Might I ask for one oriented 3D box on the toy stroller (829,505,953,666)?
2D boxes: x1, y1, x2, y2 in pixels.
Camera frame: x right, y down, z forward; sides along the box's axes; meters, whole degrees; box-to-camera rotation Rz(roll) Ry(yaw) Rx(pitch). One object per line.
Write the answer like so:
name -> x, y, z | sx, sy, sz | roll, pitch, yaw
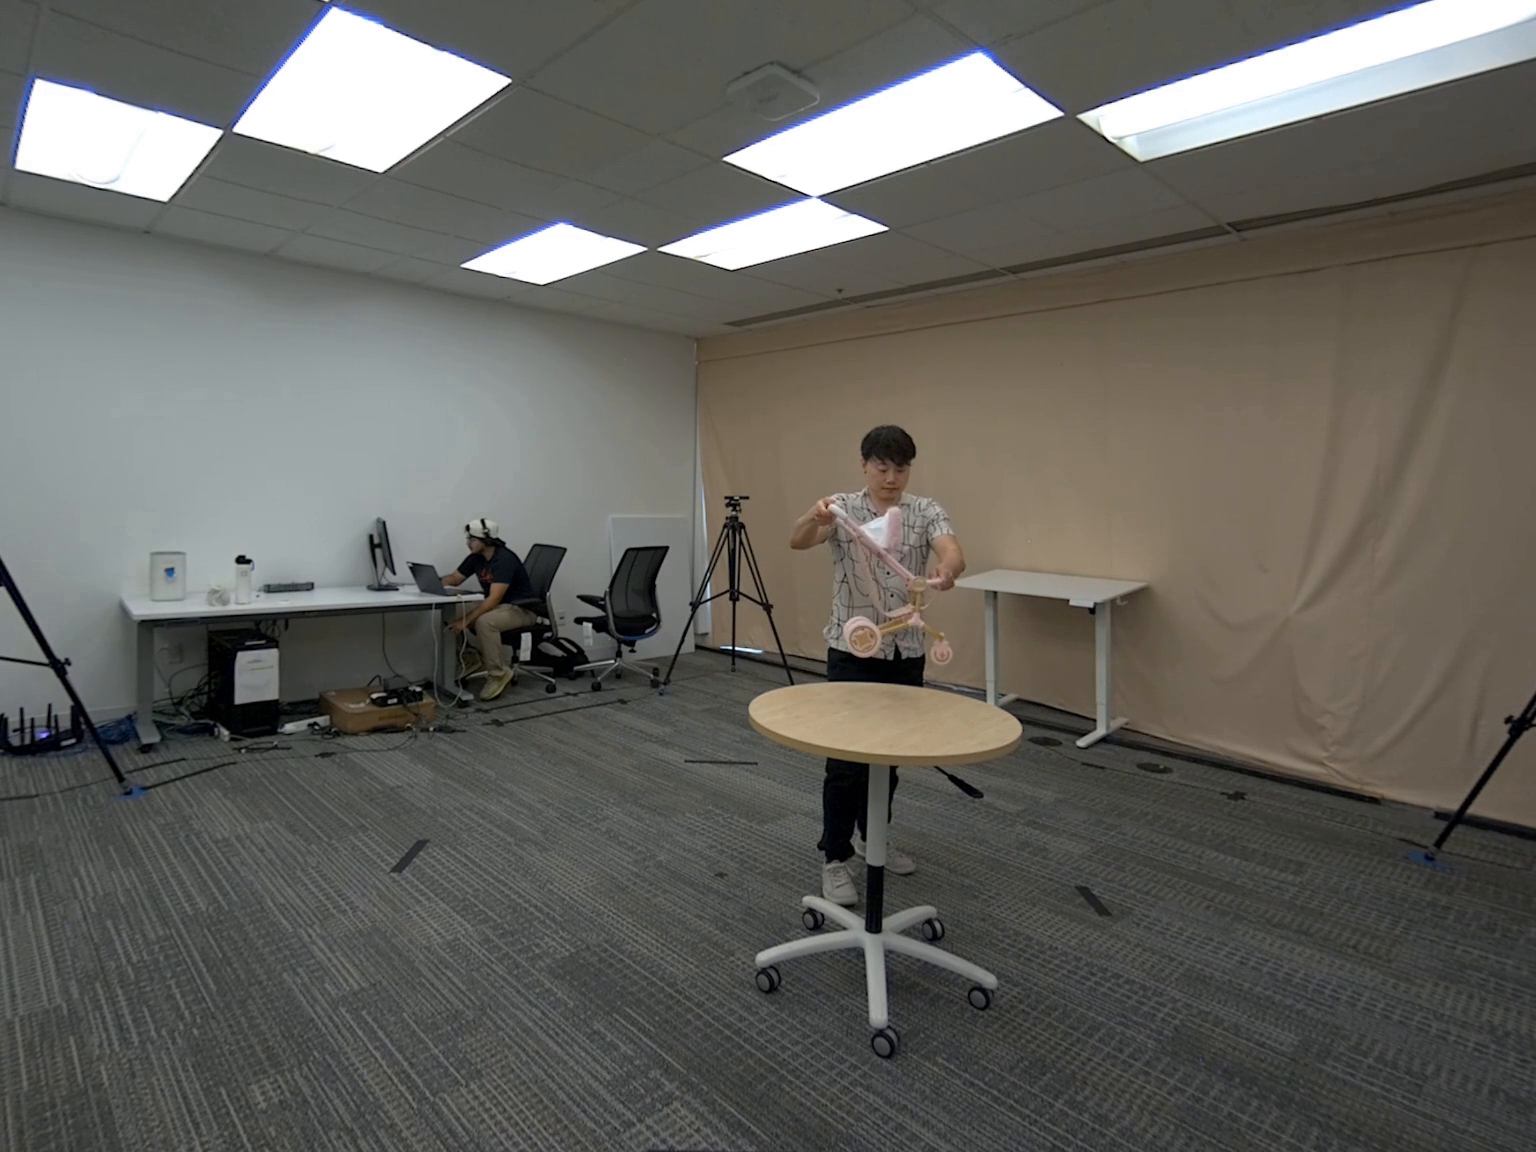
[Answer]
toy stroller -> 0.383, 0.031, 2.640 | 0.343, 0.537, 0.279 | -8, -4, 9
